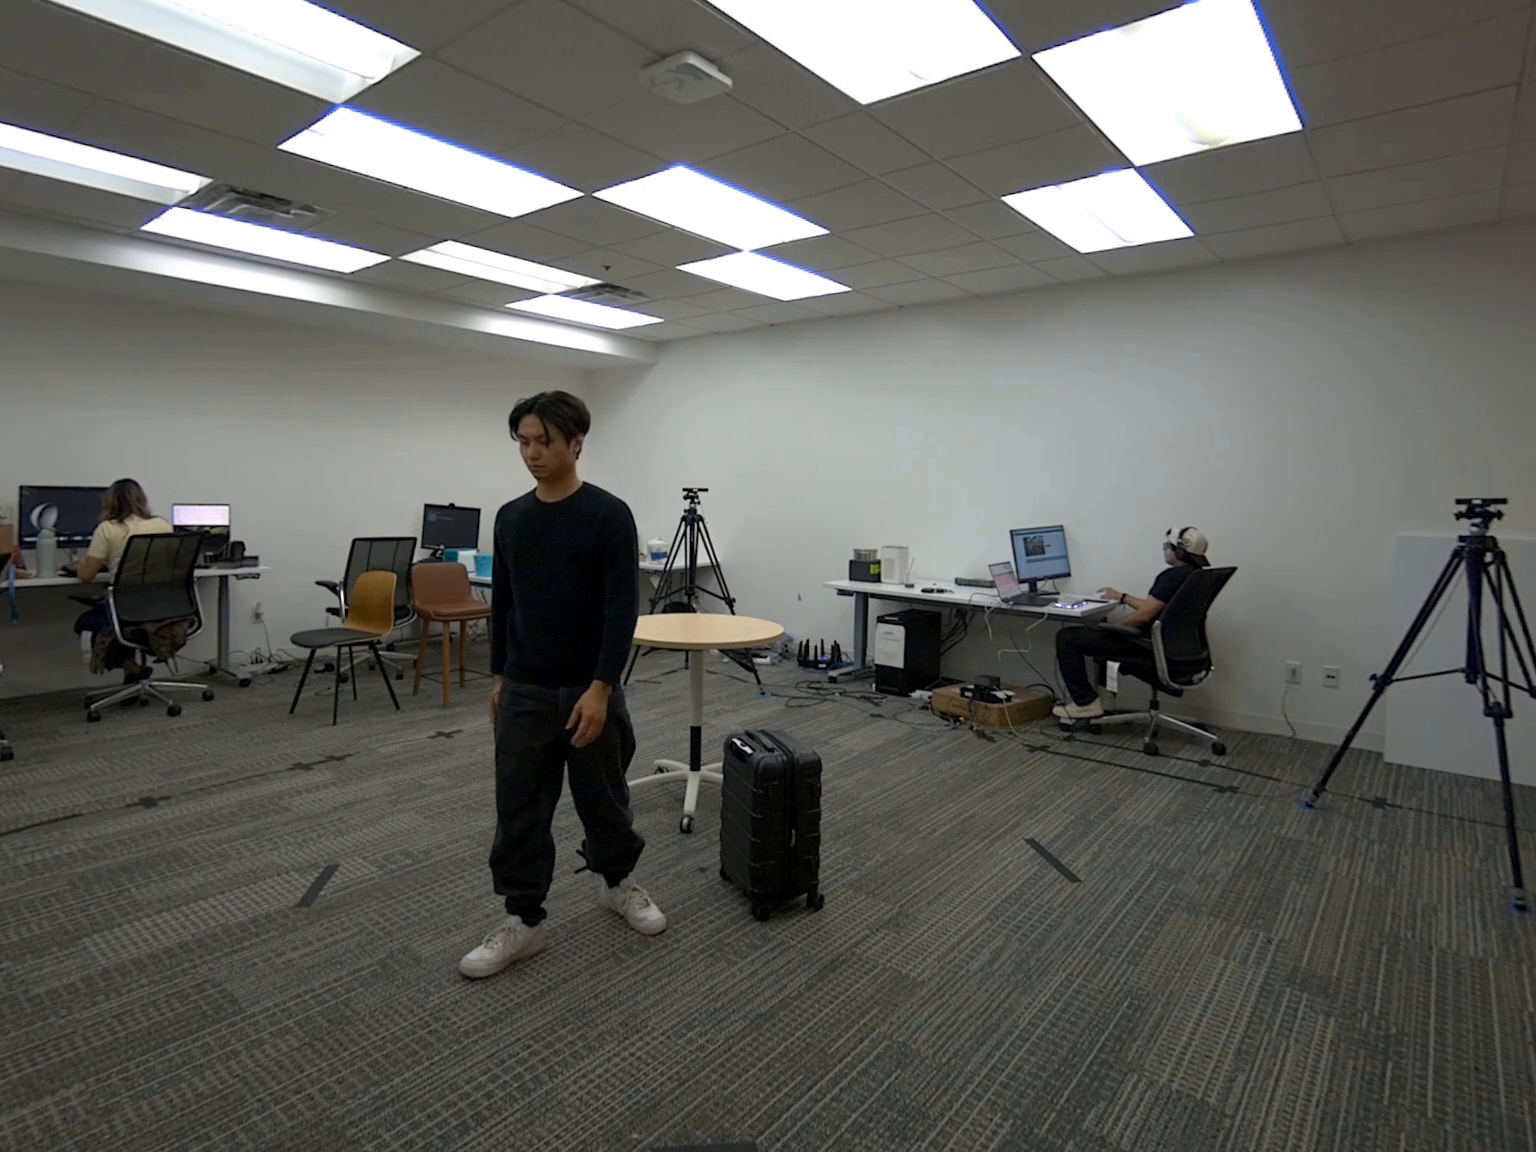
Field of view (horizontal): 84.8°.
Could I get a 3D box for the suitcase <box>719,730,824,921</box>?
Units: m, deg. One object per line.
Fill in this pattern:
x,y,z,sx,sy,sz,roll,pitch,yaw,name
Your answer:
-0.001,0.813,2.908,0.243,0.547,0.385,-2,5,-23,suitcase
